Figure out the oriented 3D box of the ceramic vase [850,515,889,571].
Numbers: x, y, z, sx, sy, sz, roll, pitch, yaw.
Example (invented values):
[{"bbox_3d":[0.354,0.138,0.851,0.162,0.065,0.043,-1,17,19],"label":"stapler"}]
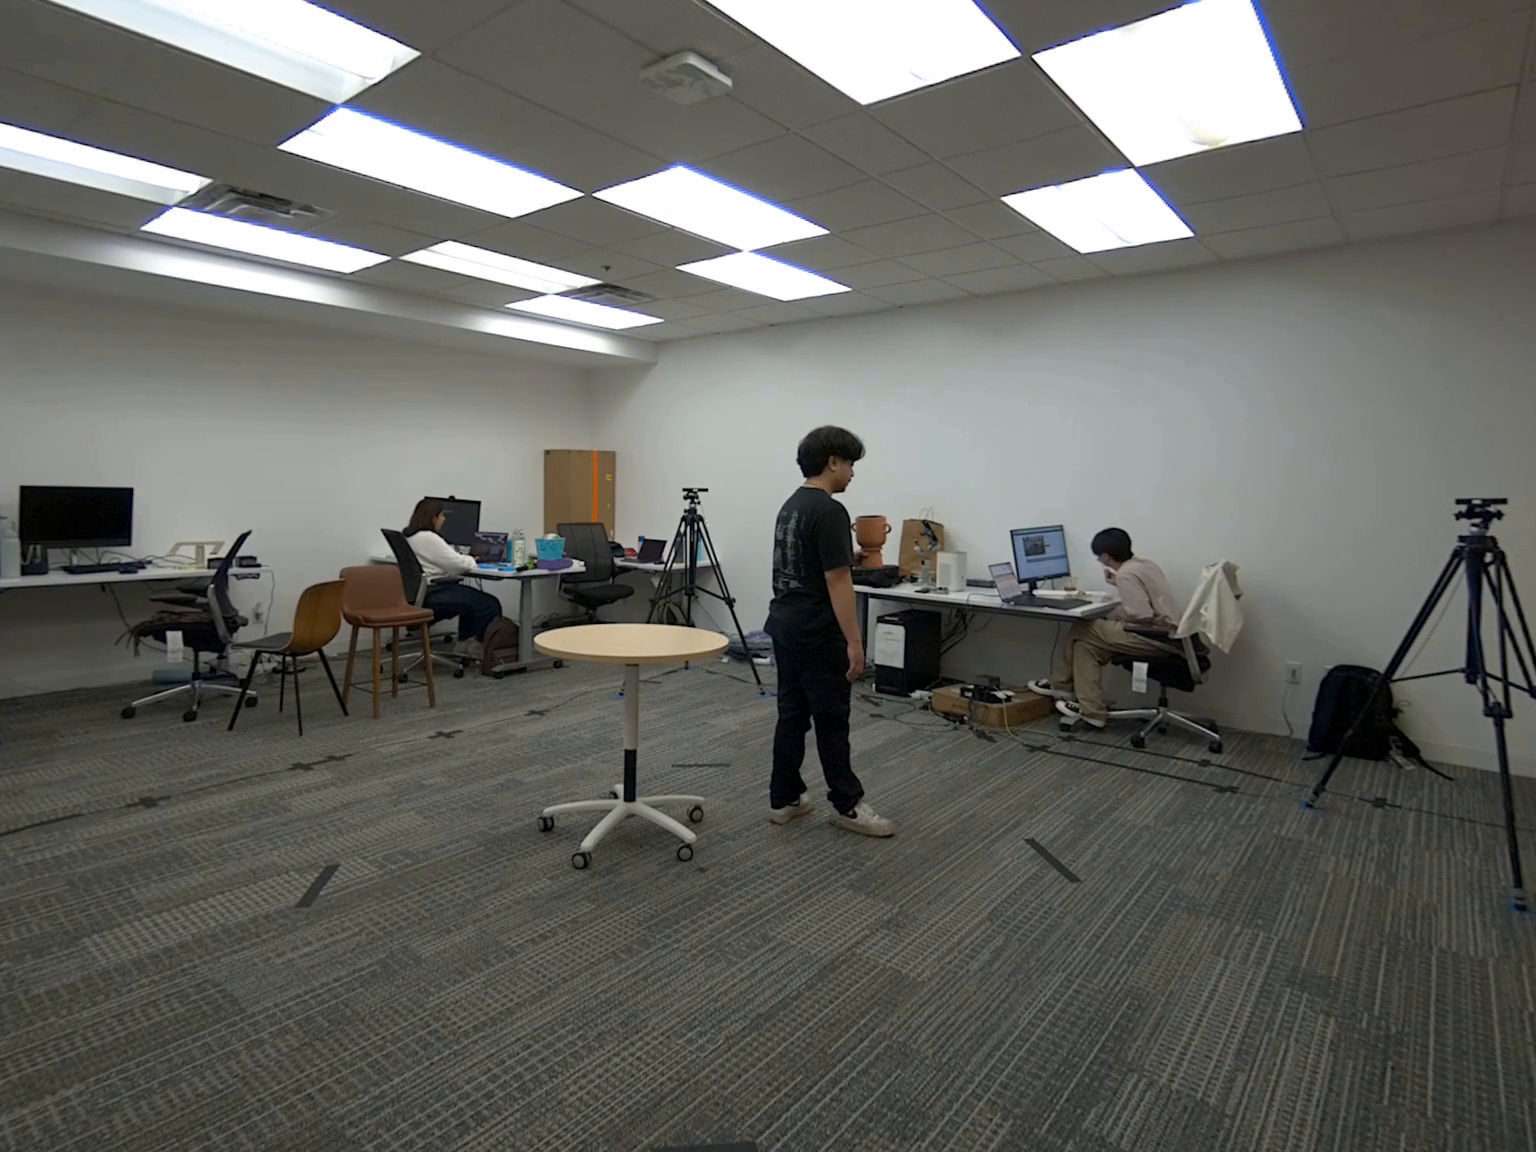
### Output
[{"bbox_3d":[0.435,-0.151,3.704,0.133,0.218,0.161,-3,7,-10],"label":"ceramic vase"}]
